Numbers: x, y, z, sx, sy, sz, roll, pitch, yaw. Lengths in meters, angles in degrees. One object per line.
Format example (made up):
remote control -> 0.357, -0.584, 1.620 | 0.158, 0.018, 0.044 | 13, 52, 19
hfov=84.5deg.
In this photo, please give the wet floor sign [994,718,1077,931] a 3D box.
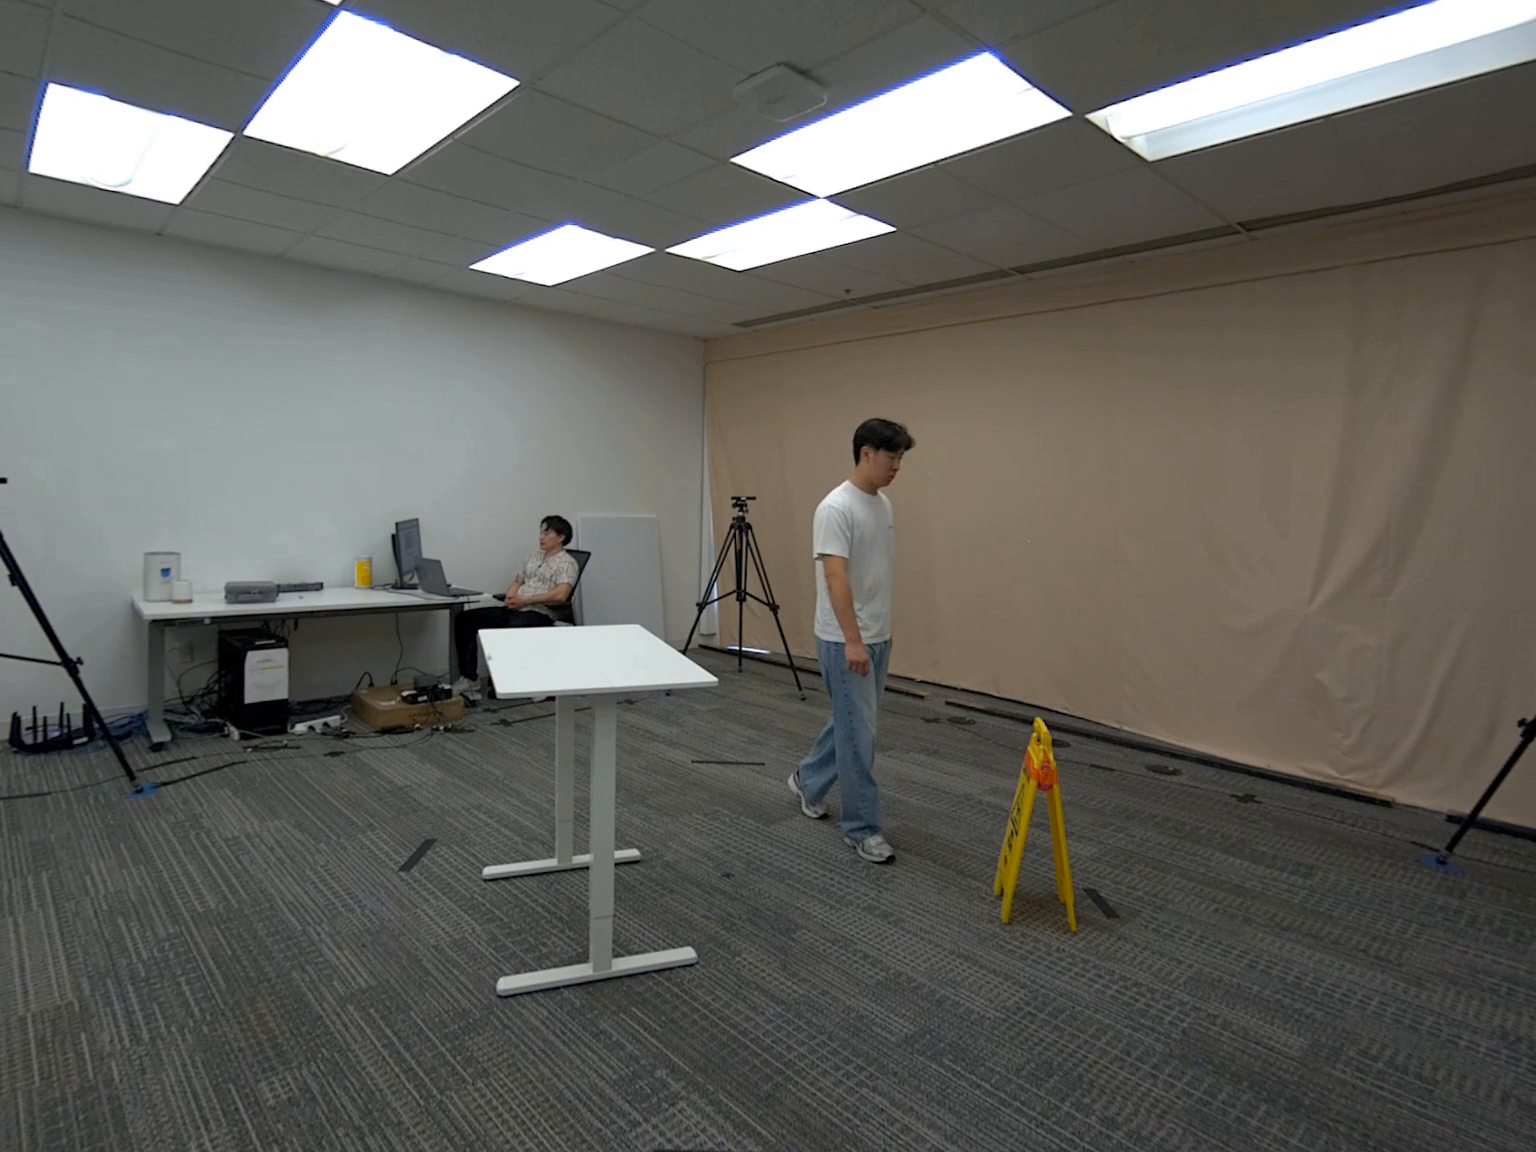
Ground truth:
wet floor sign -> 0.928, 0.827, 2.890 | 0.292, 0.644, 0.281 | 3, 4, 9
